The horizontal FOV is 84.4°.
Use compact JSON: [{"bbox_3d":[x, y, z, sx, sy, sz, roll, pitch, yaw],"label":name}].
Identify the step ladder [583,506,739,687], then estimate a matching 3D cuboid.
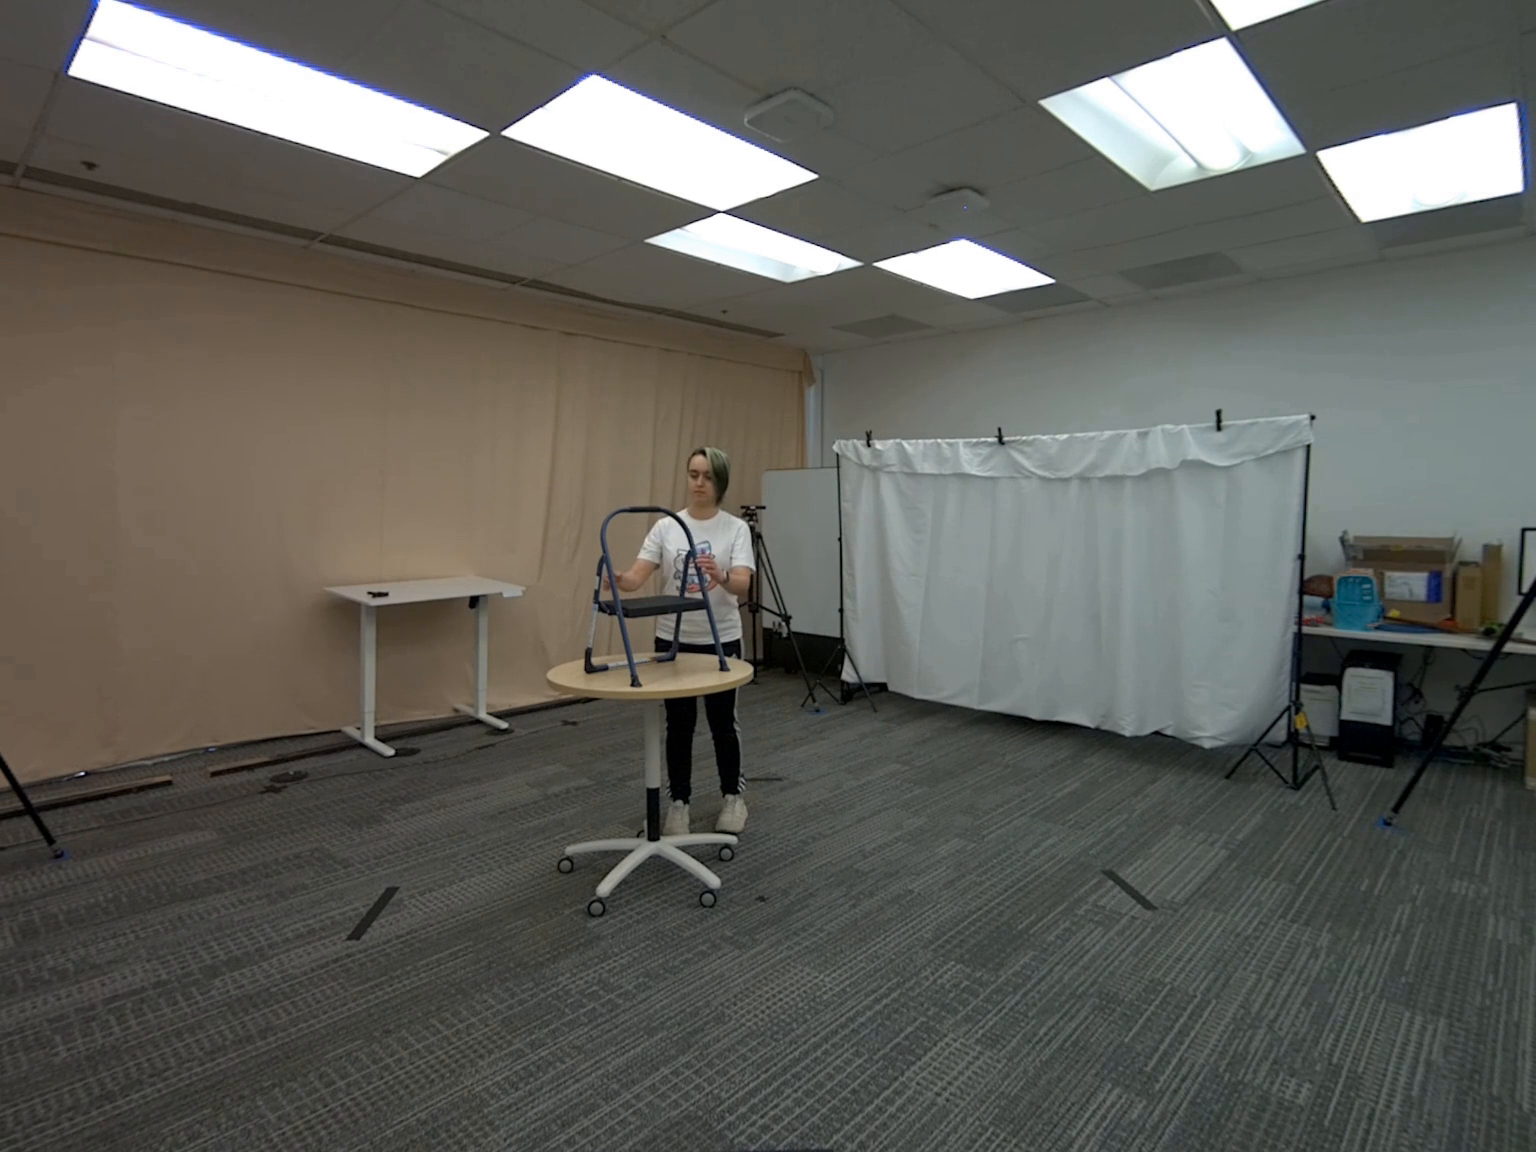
[{"bbox_3d":[-0.416,0.054,3.078,0.417,0.605,0.361,-3,4,-42],"label":"step ladder"}]
